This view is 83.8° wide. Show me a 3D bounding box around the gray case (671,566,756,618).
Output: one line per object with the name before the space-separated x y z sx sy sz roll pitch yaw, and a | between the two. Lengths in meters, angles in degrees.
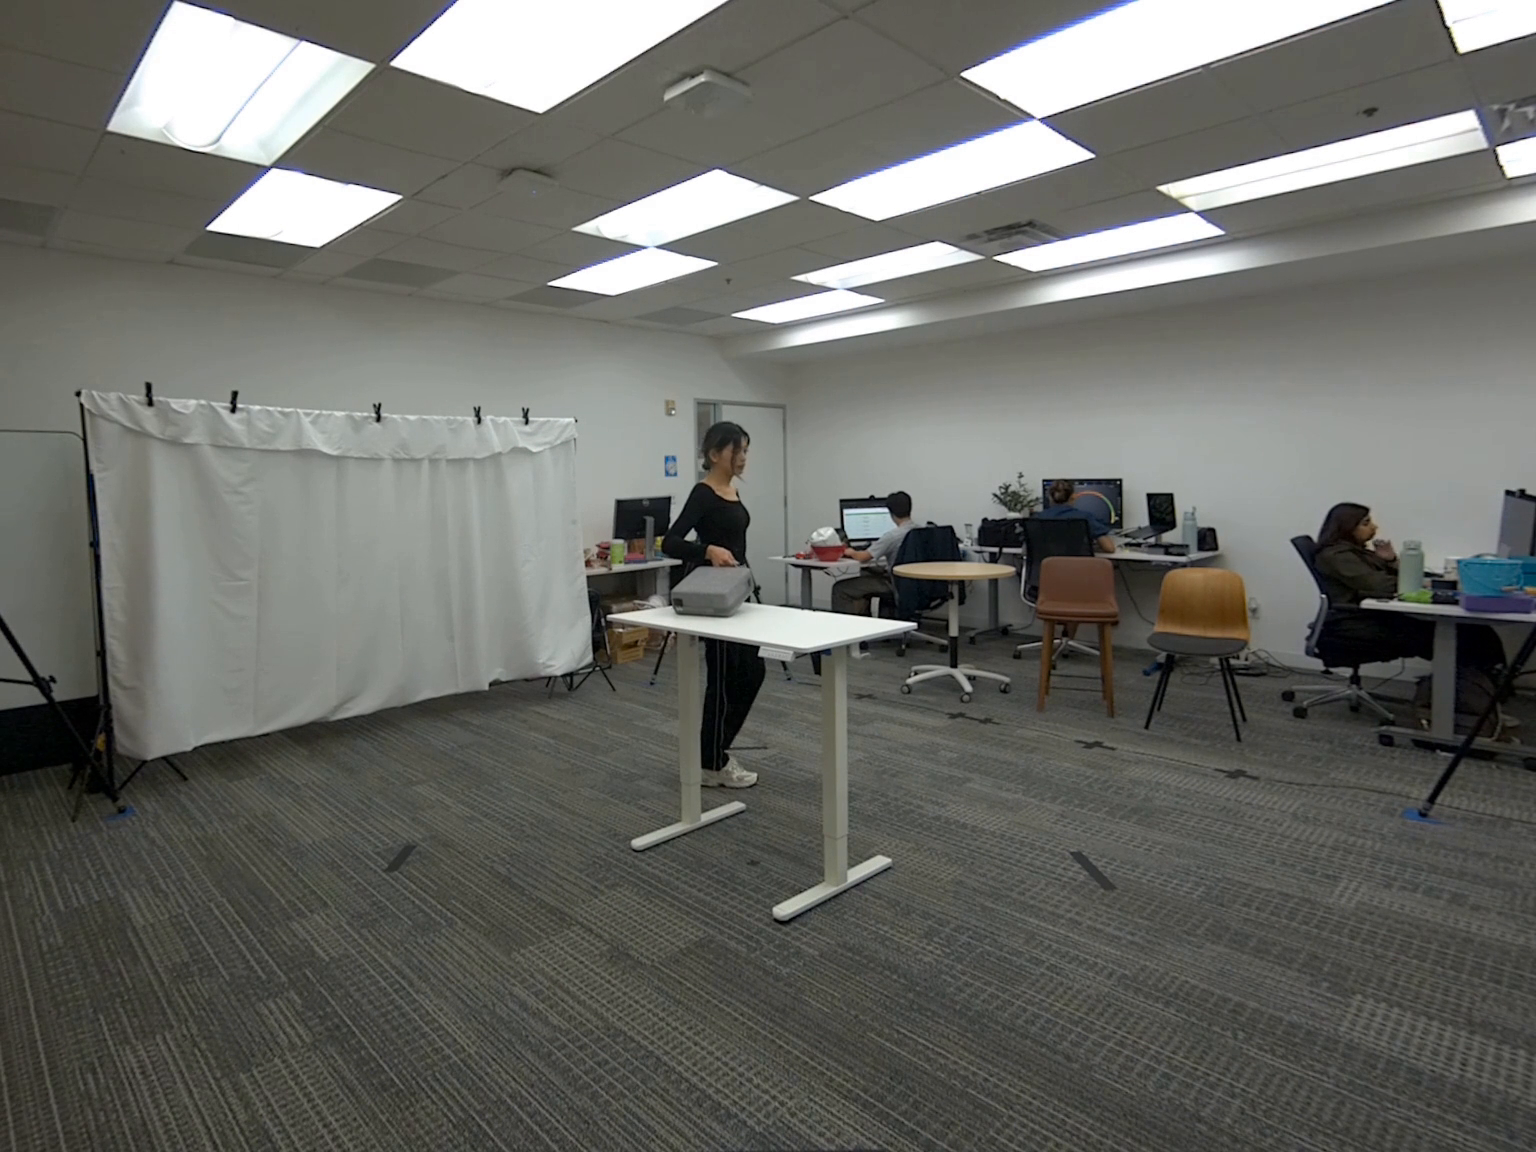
gray case | -0.213 0.058 3.291 0.263 0.102 0.260 1 26 25
